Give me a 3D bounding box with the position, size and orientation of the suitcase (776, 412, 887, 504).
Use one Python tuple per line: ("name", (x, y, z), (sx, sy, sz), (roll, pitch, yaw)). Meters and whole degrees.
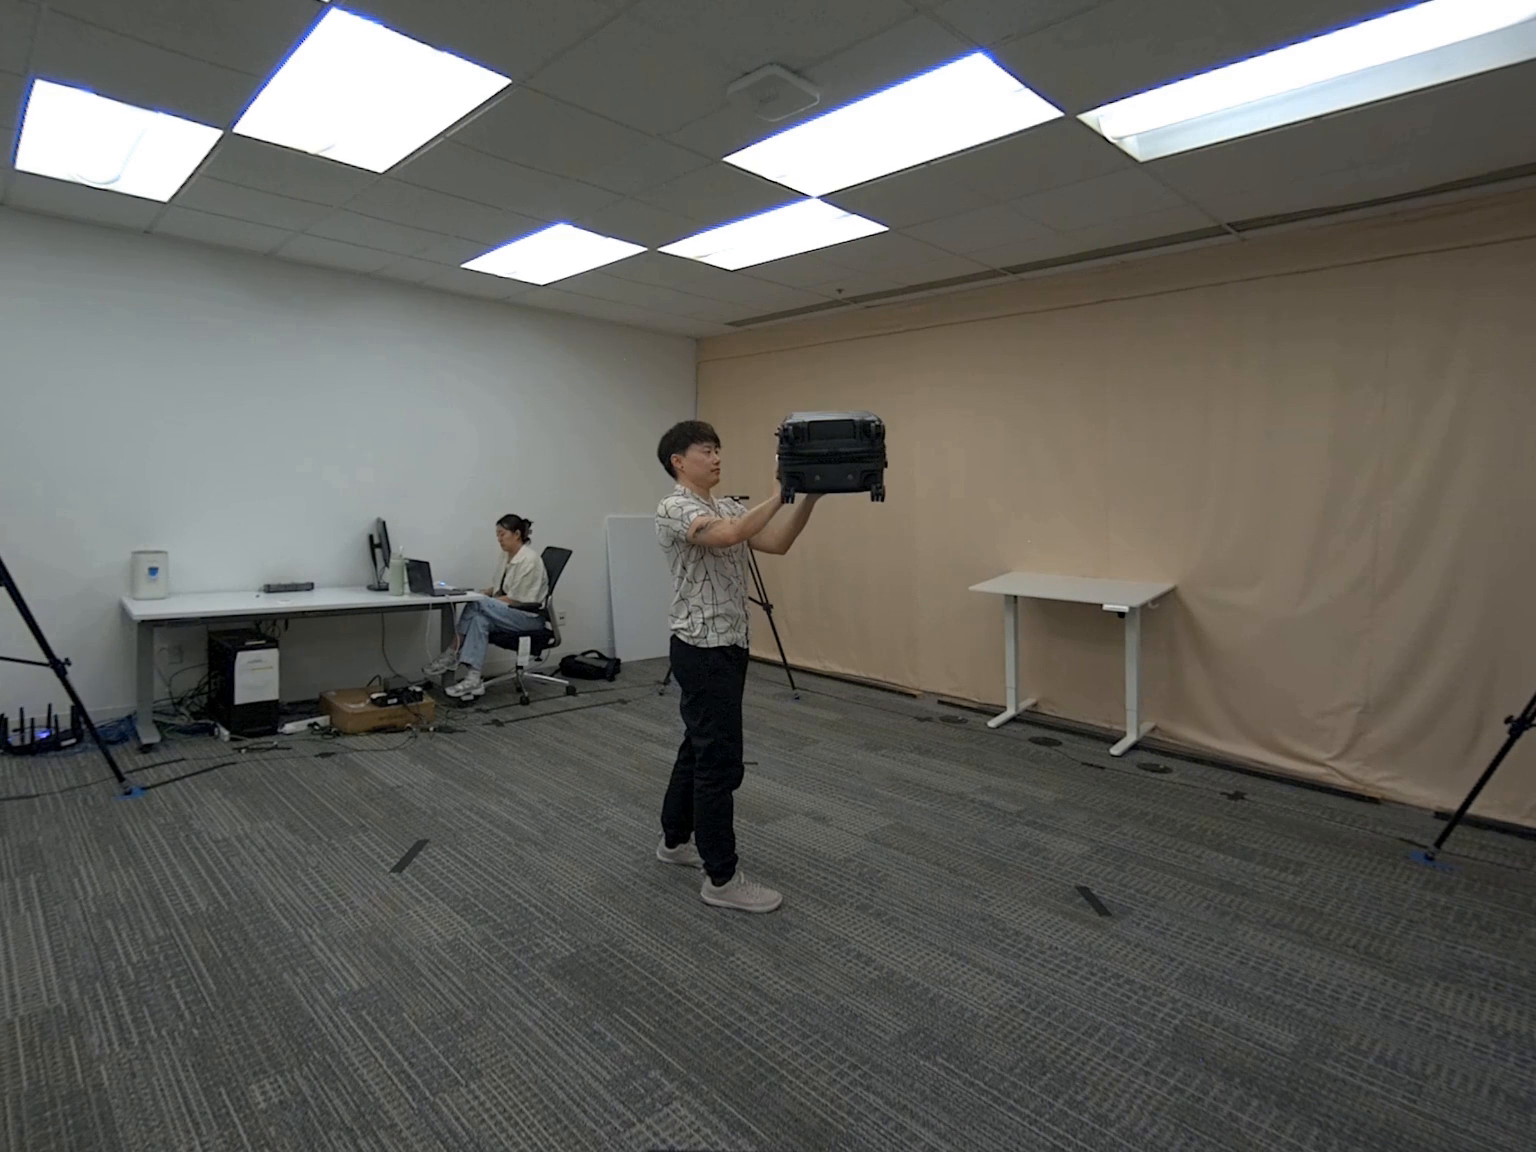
("suitcase", (0.214, -0.443, 2.941), (0.376, 0.245, 0.553), (-2, 15, 3))
